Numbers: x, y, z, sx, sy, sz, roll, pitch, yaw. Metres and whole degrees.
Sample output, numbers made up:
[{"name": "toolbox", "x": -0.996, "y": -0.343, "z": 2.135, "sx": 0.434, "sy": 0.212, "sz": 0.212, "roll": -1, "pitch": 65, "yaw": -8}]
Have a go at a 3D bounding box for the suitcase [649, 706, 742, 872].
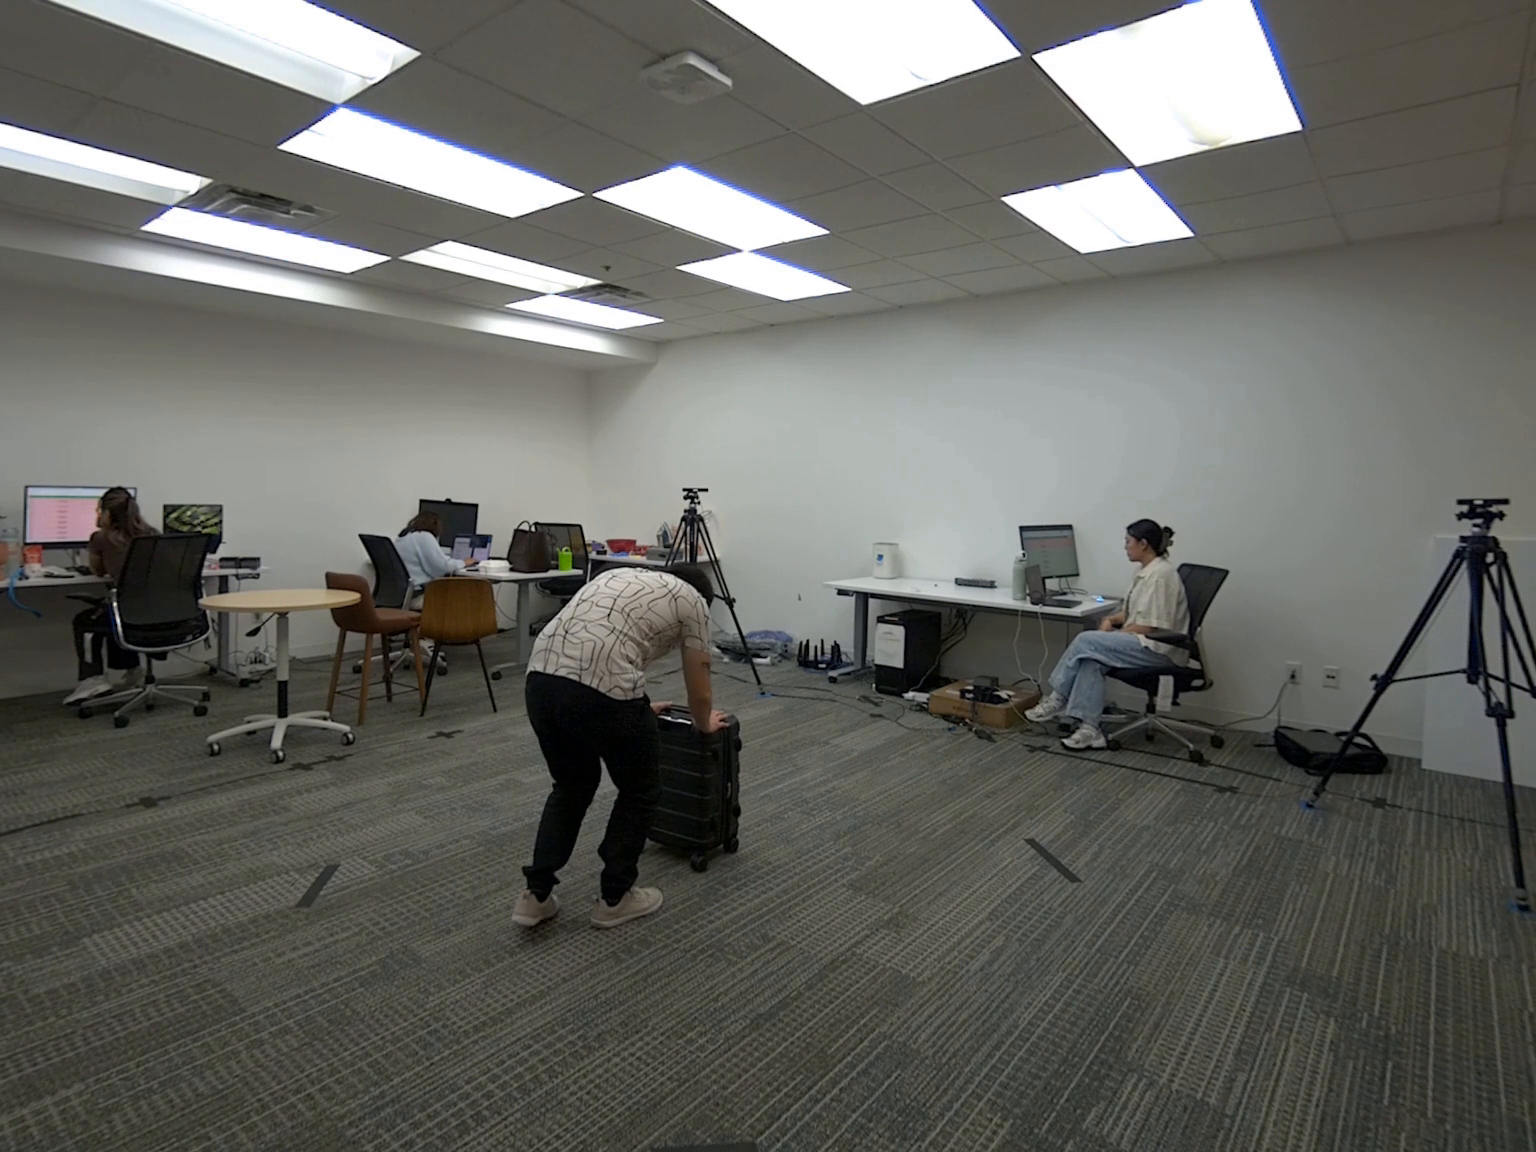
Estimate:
[{"name": "suitcase", "x": -0.314, "y": 0.776, "z": 3.277, "sx": 0.387, "sy": 0.548, "sz": 0.241, "roll": 4, "pitch": 2, "yaw": 33}]
